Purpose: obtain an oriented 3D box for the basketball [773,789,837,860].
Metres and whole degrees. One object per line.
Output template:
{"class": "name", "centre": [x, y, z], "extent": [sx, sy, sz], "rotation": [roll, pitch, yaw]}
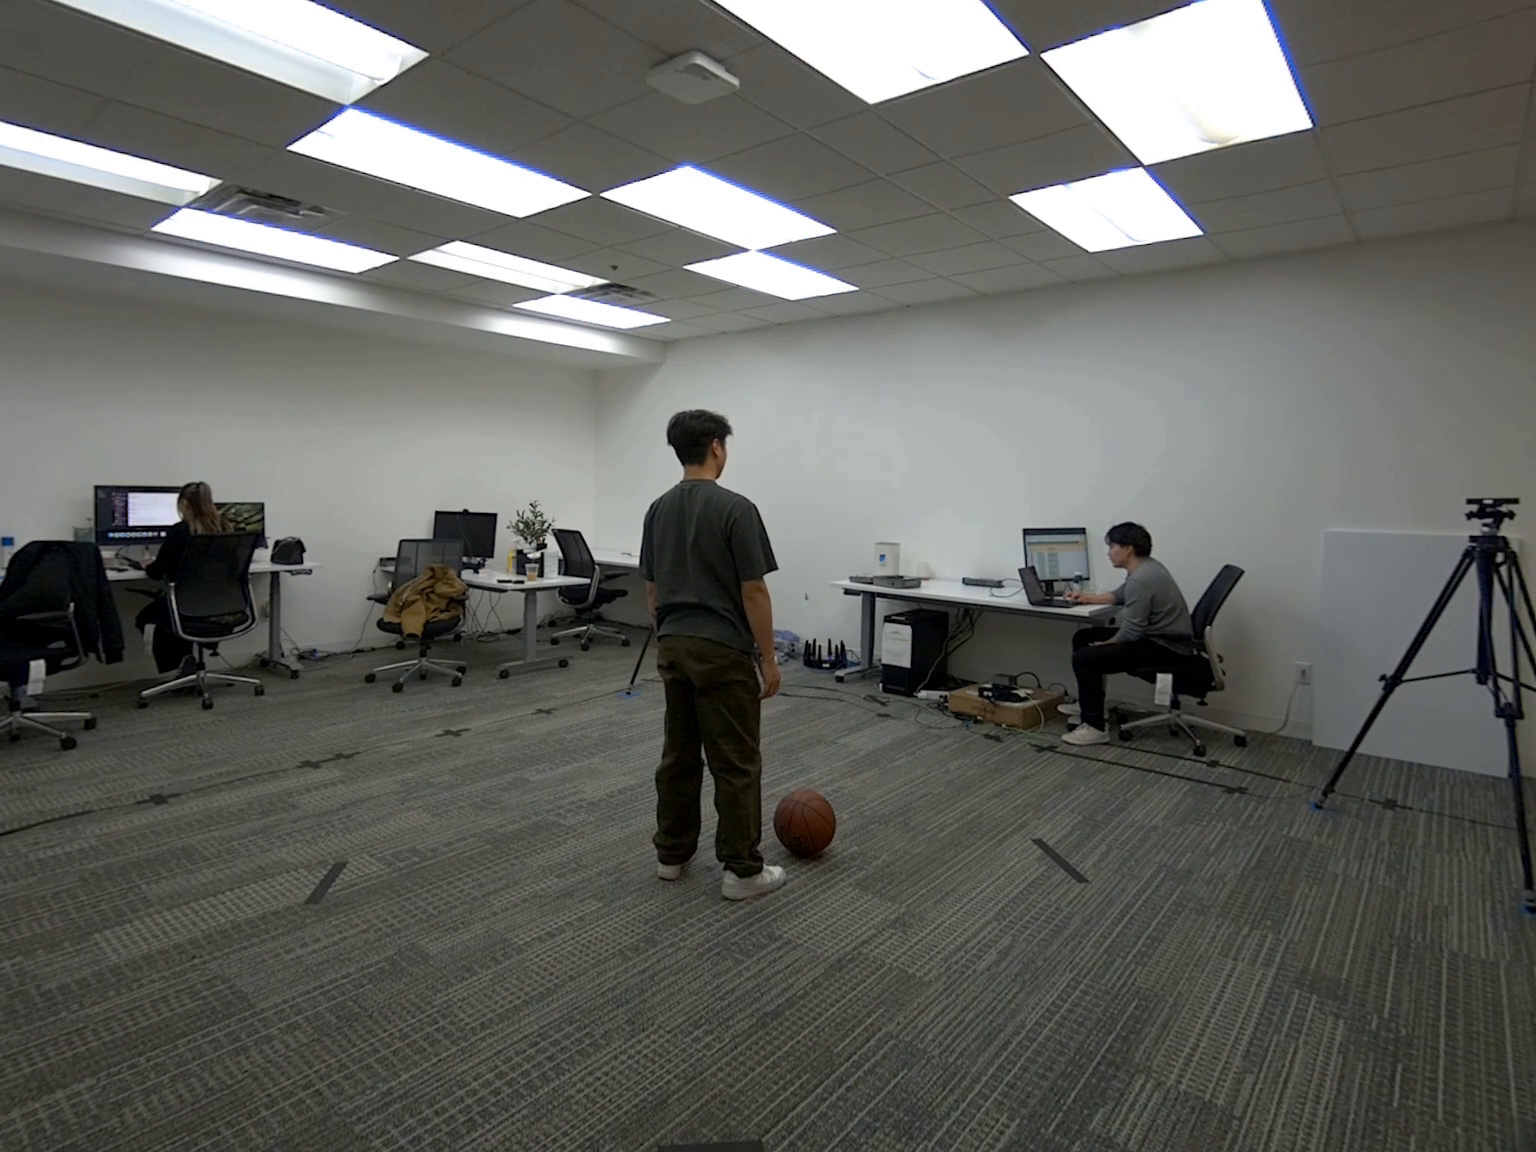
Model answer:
{"class": "basketball", "centre": [0.129, 0.930, 3.255], "extent": [0.235, 0.235, 0.237], "rotation": [1, 4, -2]}
